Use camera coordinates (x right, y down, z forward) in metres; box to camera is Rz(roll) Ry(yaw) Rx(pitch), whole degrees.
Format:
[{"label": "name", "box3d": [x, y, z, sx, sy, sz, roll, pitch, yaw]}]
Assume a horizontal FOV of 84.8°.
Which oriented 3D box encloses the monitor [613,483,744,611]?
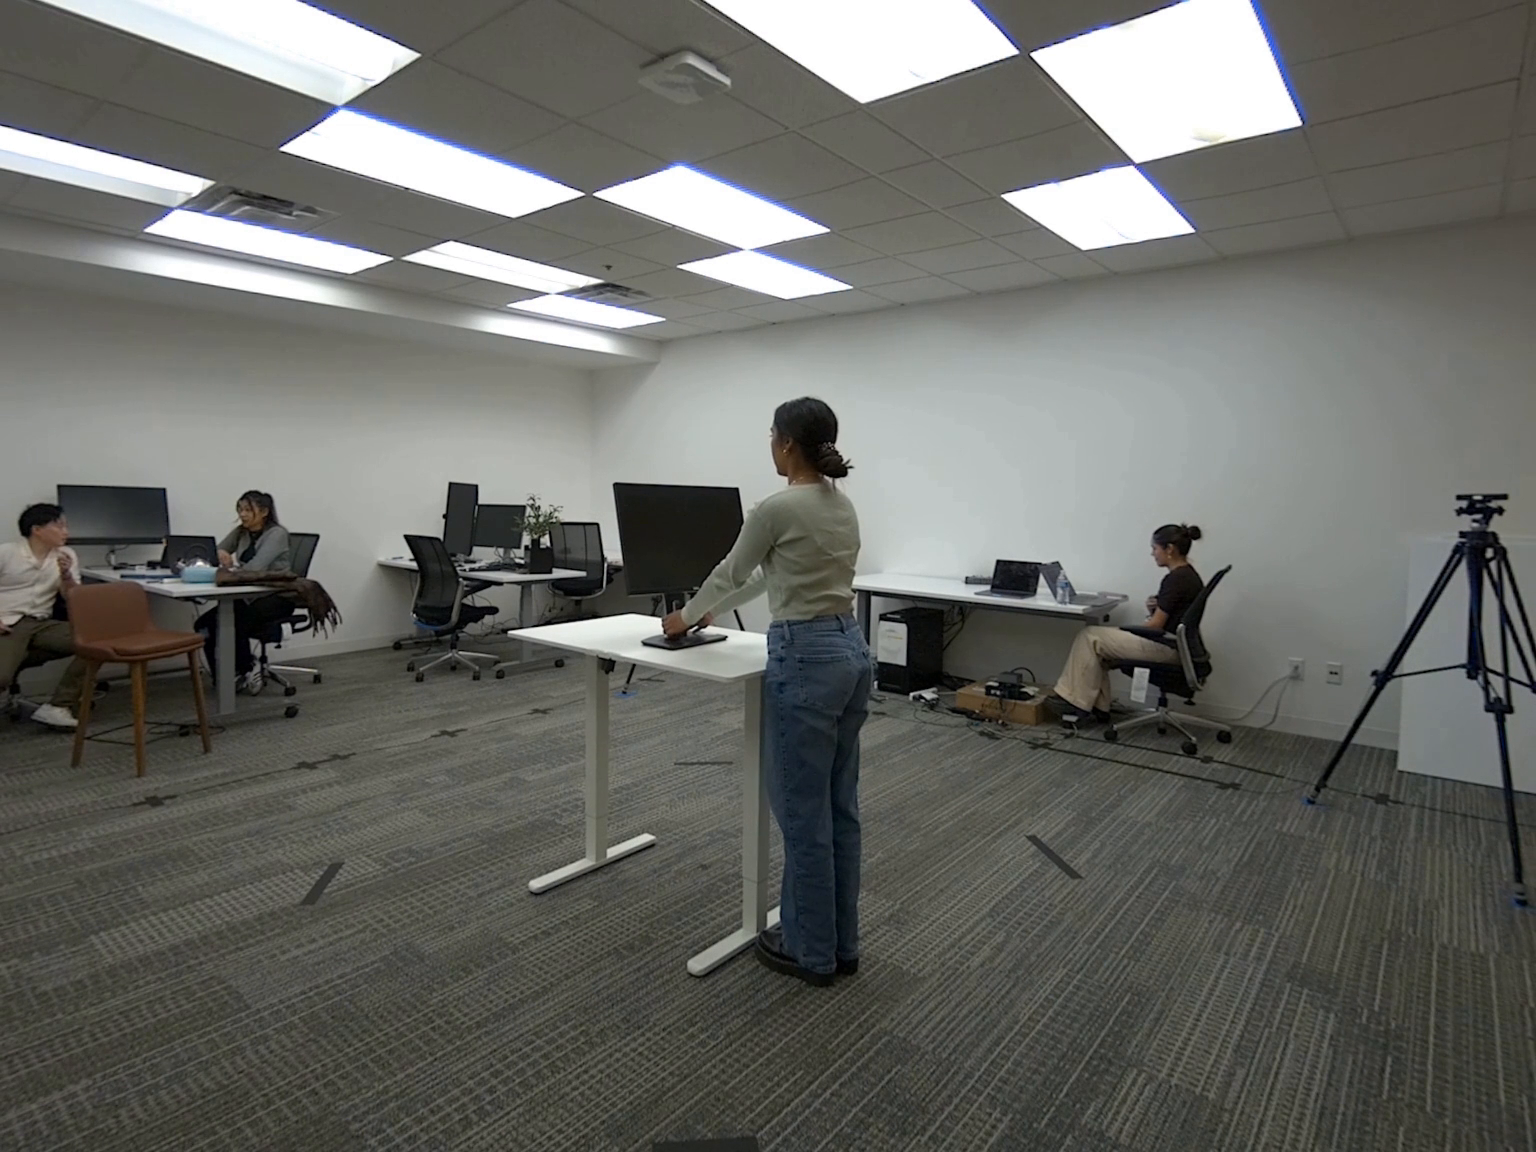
[{"label": "monitor", "box3d": [-0.309, -0.038, 2.794, 0.193, 0.521, 0.523, 3, 4, 42]}]
